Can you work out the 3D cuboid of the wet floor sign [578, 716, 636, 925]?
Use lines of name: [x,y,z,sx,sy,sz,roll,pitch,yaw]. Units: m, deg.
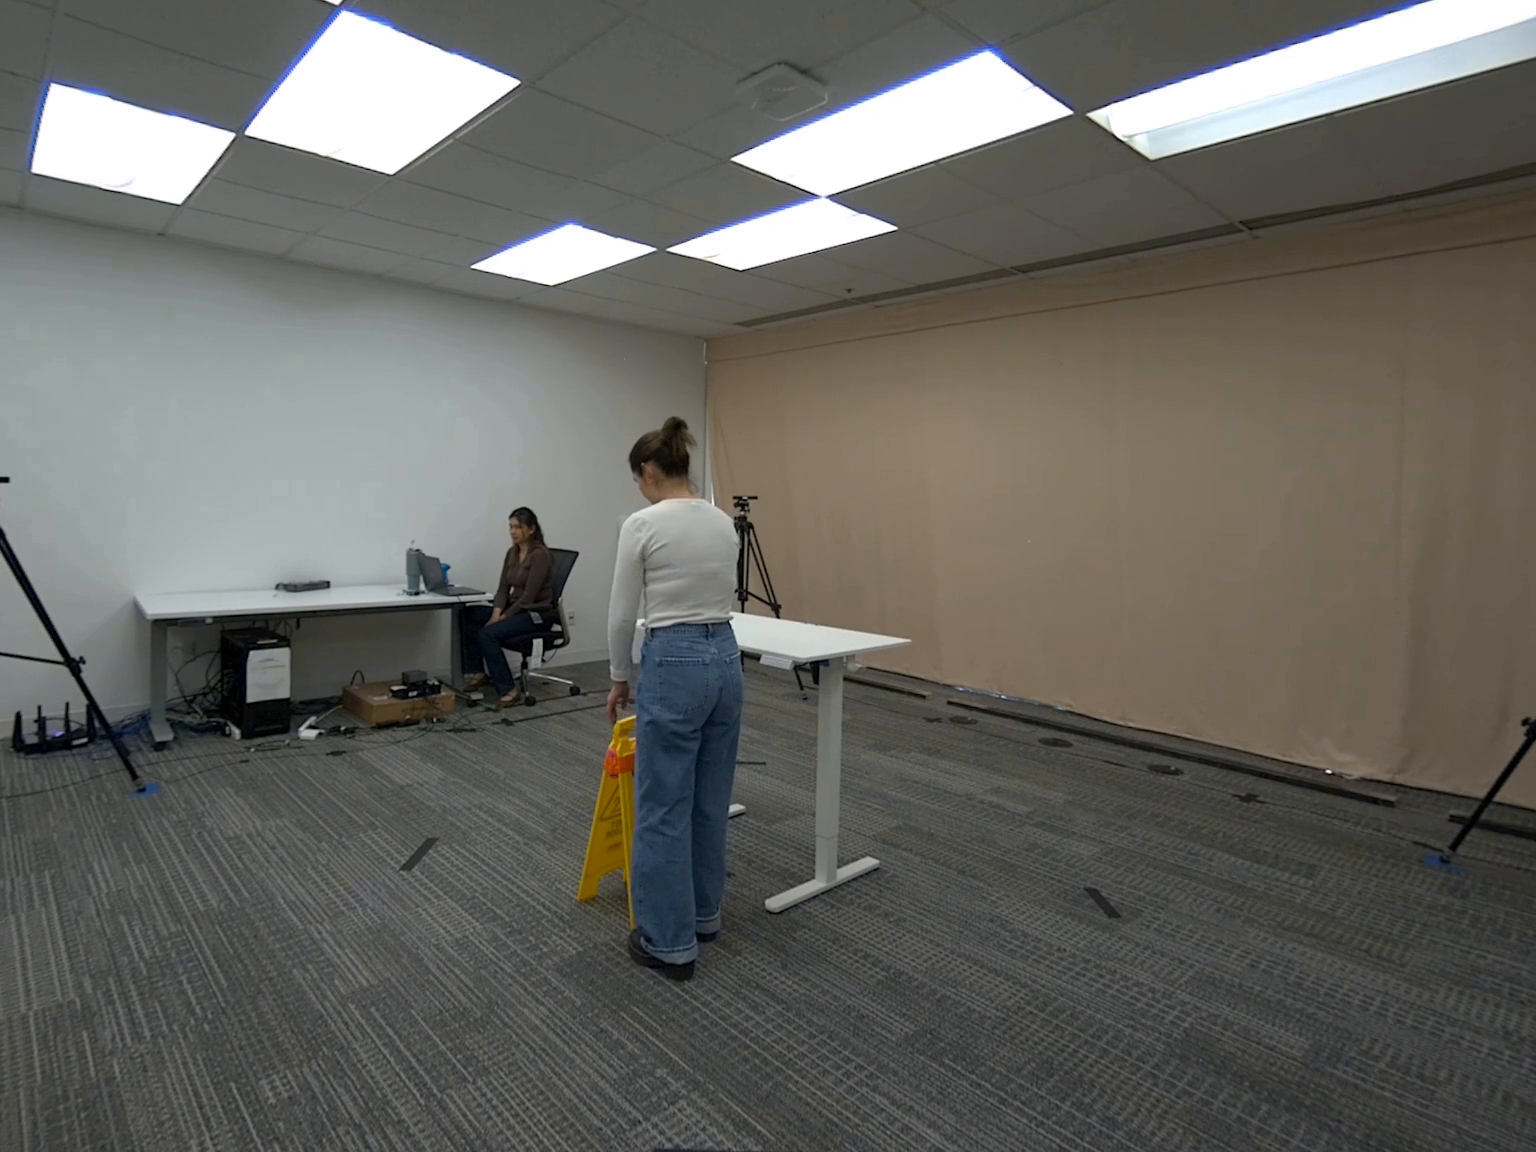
wet floor sign: [-0.447,0.798,2.854,0.297,0.644,0.276,5,4,41]
